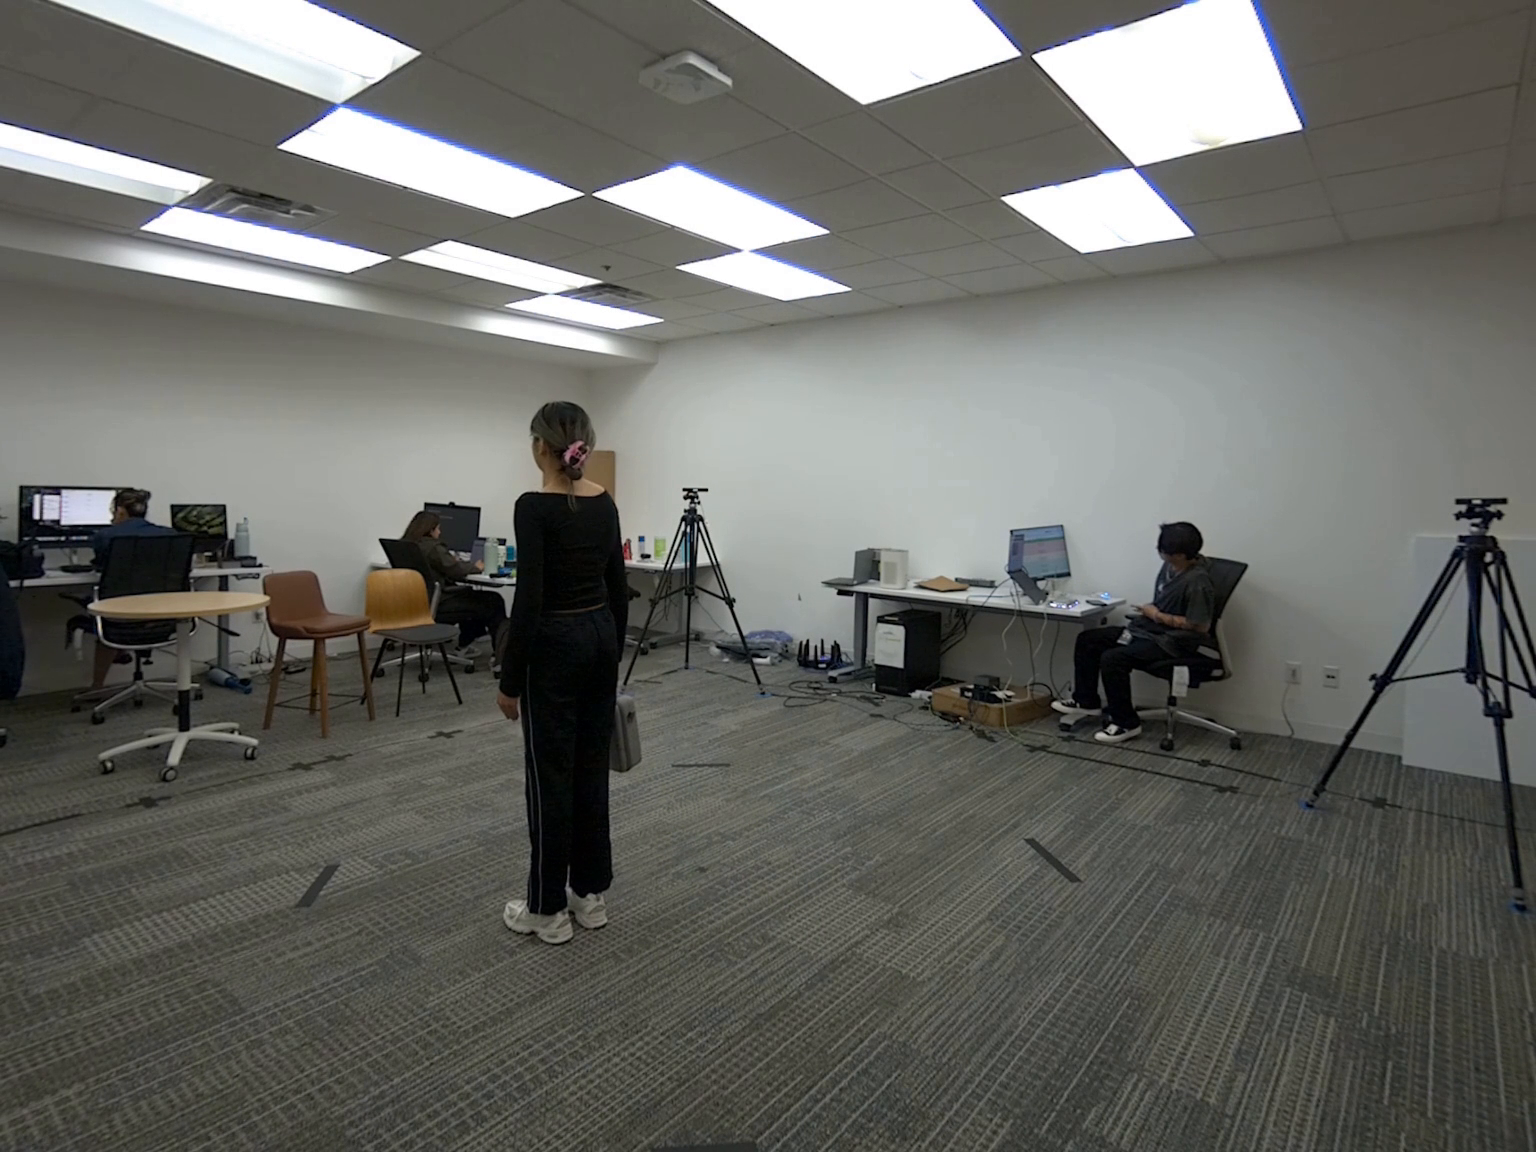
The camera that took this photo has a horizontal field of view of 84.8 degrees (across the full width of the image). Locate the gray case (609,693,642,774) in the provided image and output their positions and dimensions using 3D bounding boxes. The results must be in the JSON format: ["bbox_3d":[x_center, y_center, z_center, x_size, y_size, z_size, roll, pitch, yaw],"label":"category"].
[{"bbox_3d":[-0.575,0.519,2.928,0.265,0.258,0.102,5,12,39],"label":"gray case"}]
